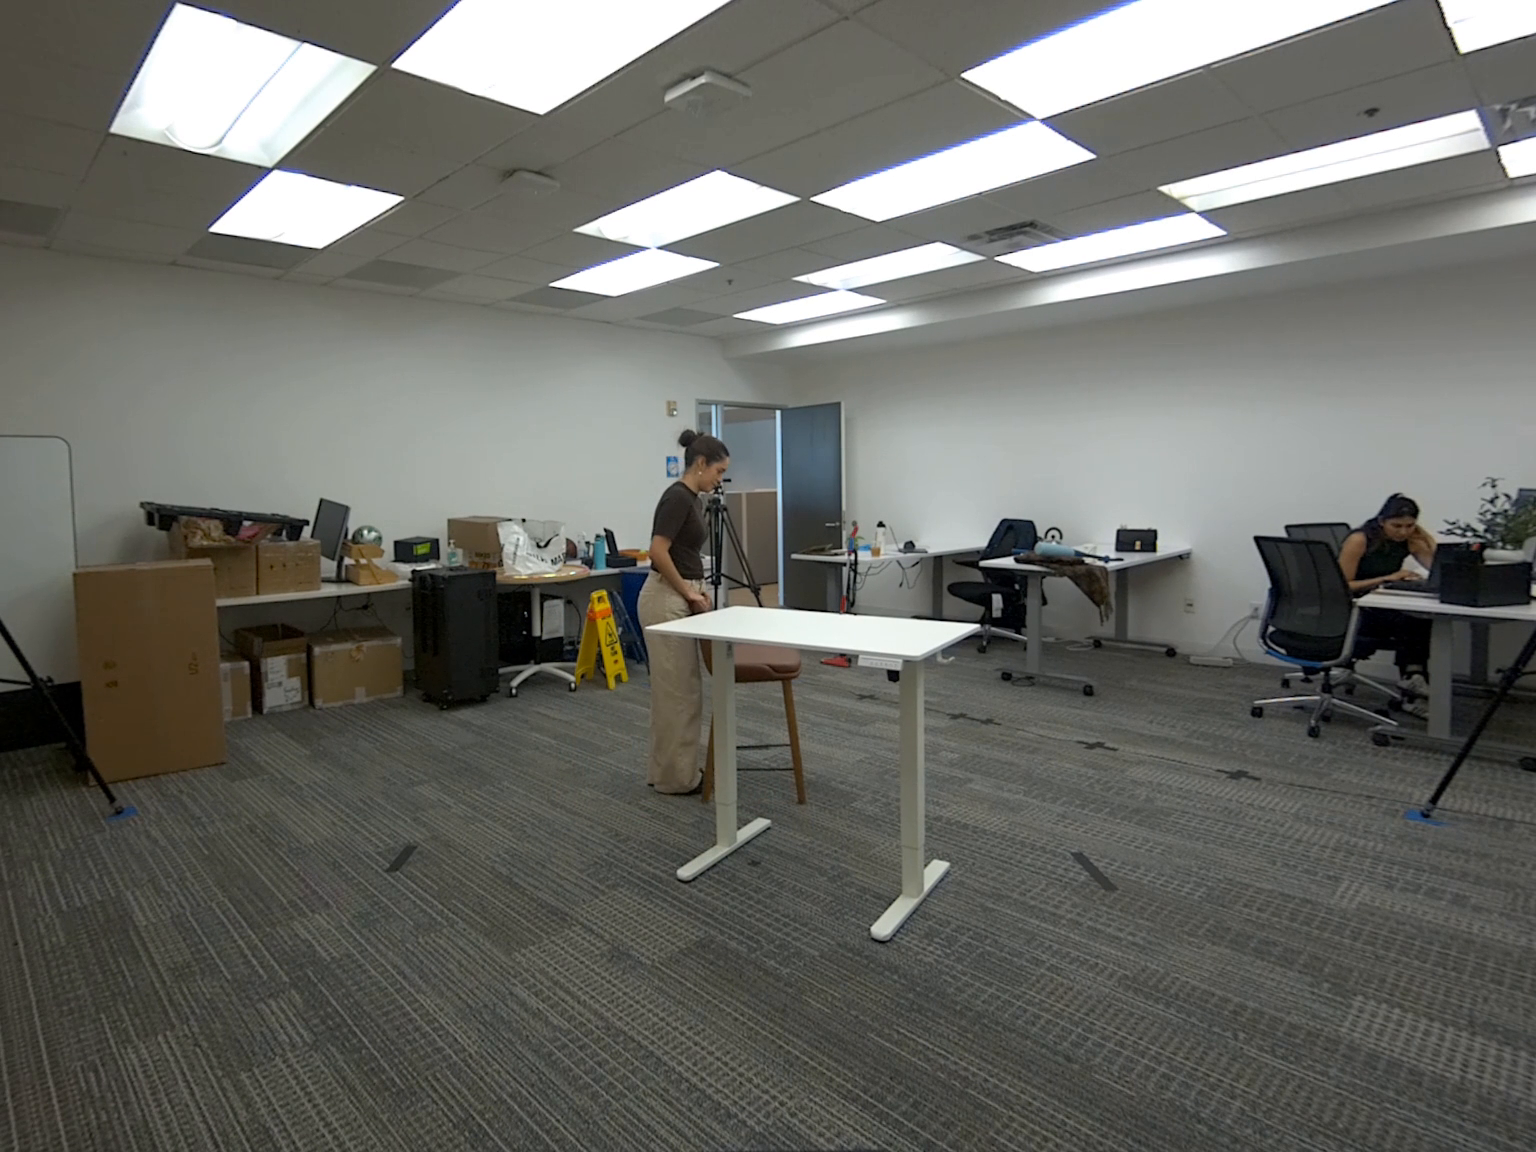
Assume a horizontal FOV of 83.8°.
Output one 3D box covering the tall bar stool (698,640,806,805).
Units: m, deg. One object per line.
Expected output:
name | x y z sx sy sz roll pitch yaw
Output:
tall bar stool | -0.080 0.527 3.843 0.468 0.888 0.457 -3 3 1
